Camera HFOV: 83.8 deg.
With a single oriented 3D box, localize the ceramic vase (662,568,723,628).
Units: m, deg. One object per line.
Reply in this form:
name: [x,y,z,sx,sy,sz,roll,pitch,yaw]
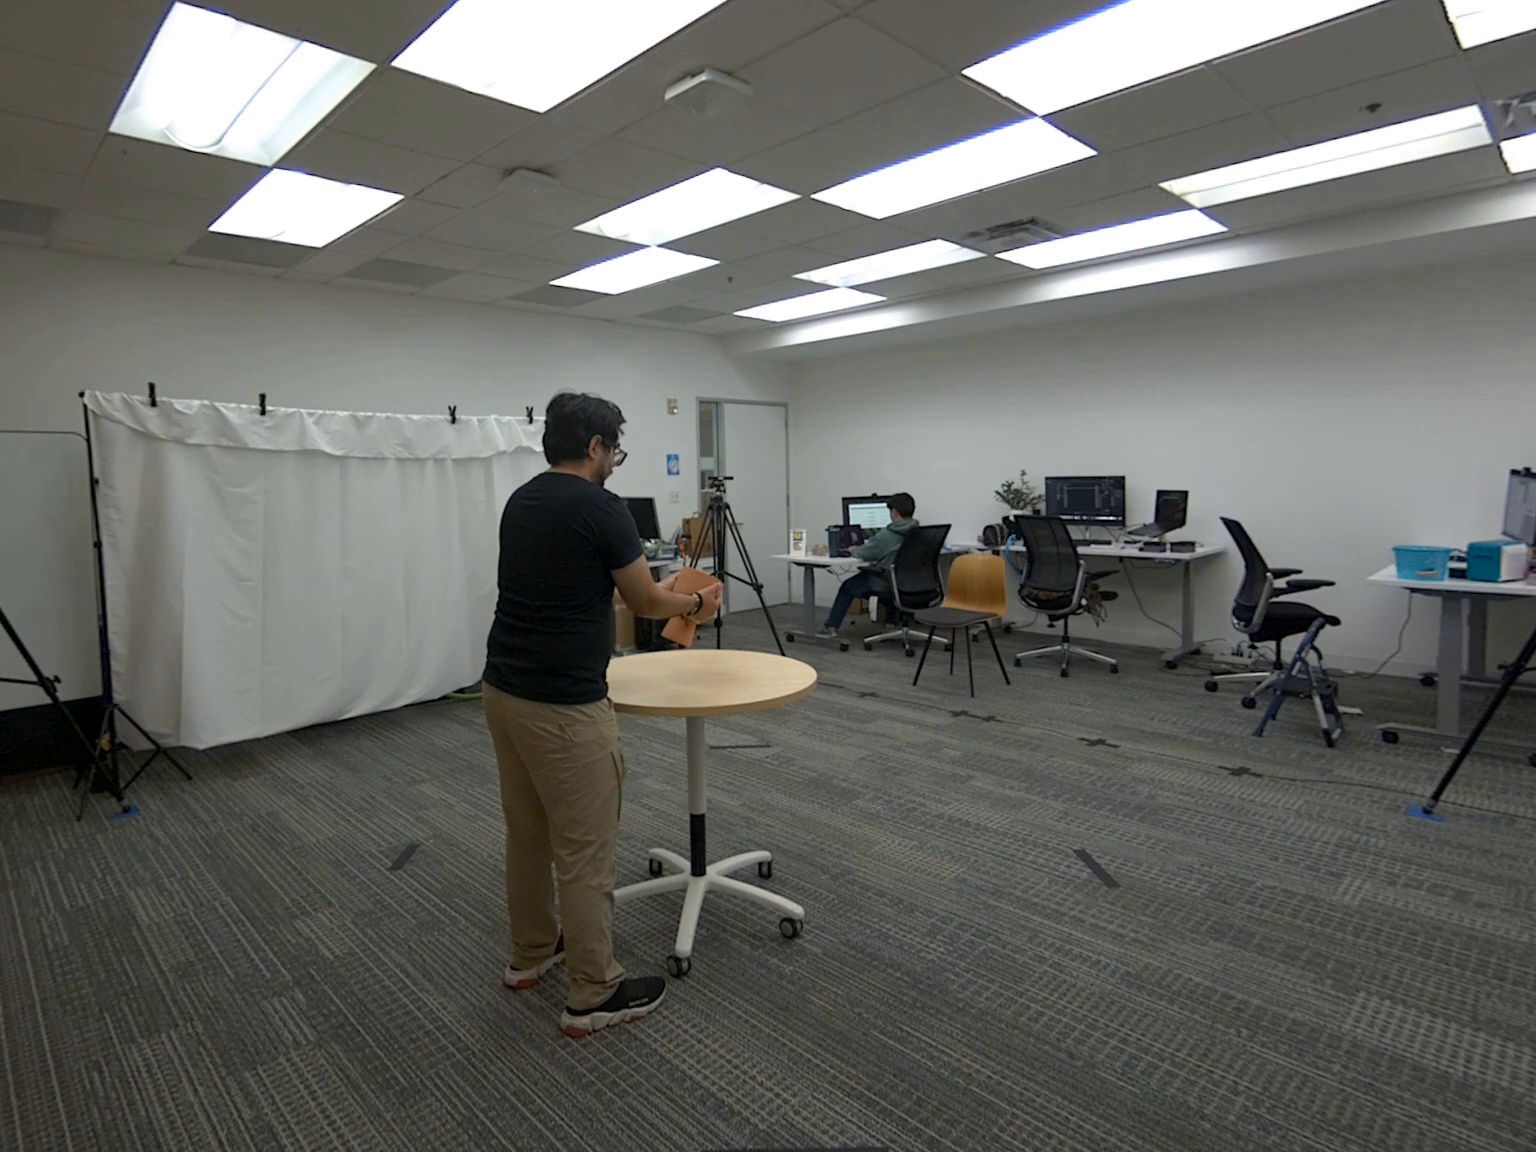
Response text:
ceramic vase: [-0.237,0.097,2.614,0.133,0.221,0.160,24,-9,-13]
